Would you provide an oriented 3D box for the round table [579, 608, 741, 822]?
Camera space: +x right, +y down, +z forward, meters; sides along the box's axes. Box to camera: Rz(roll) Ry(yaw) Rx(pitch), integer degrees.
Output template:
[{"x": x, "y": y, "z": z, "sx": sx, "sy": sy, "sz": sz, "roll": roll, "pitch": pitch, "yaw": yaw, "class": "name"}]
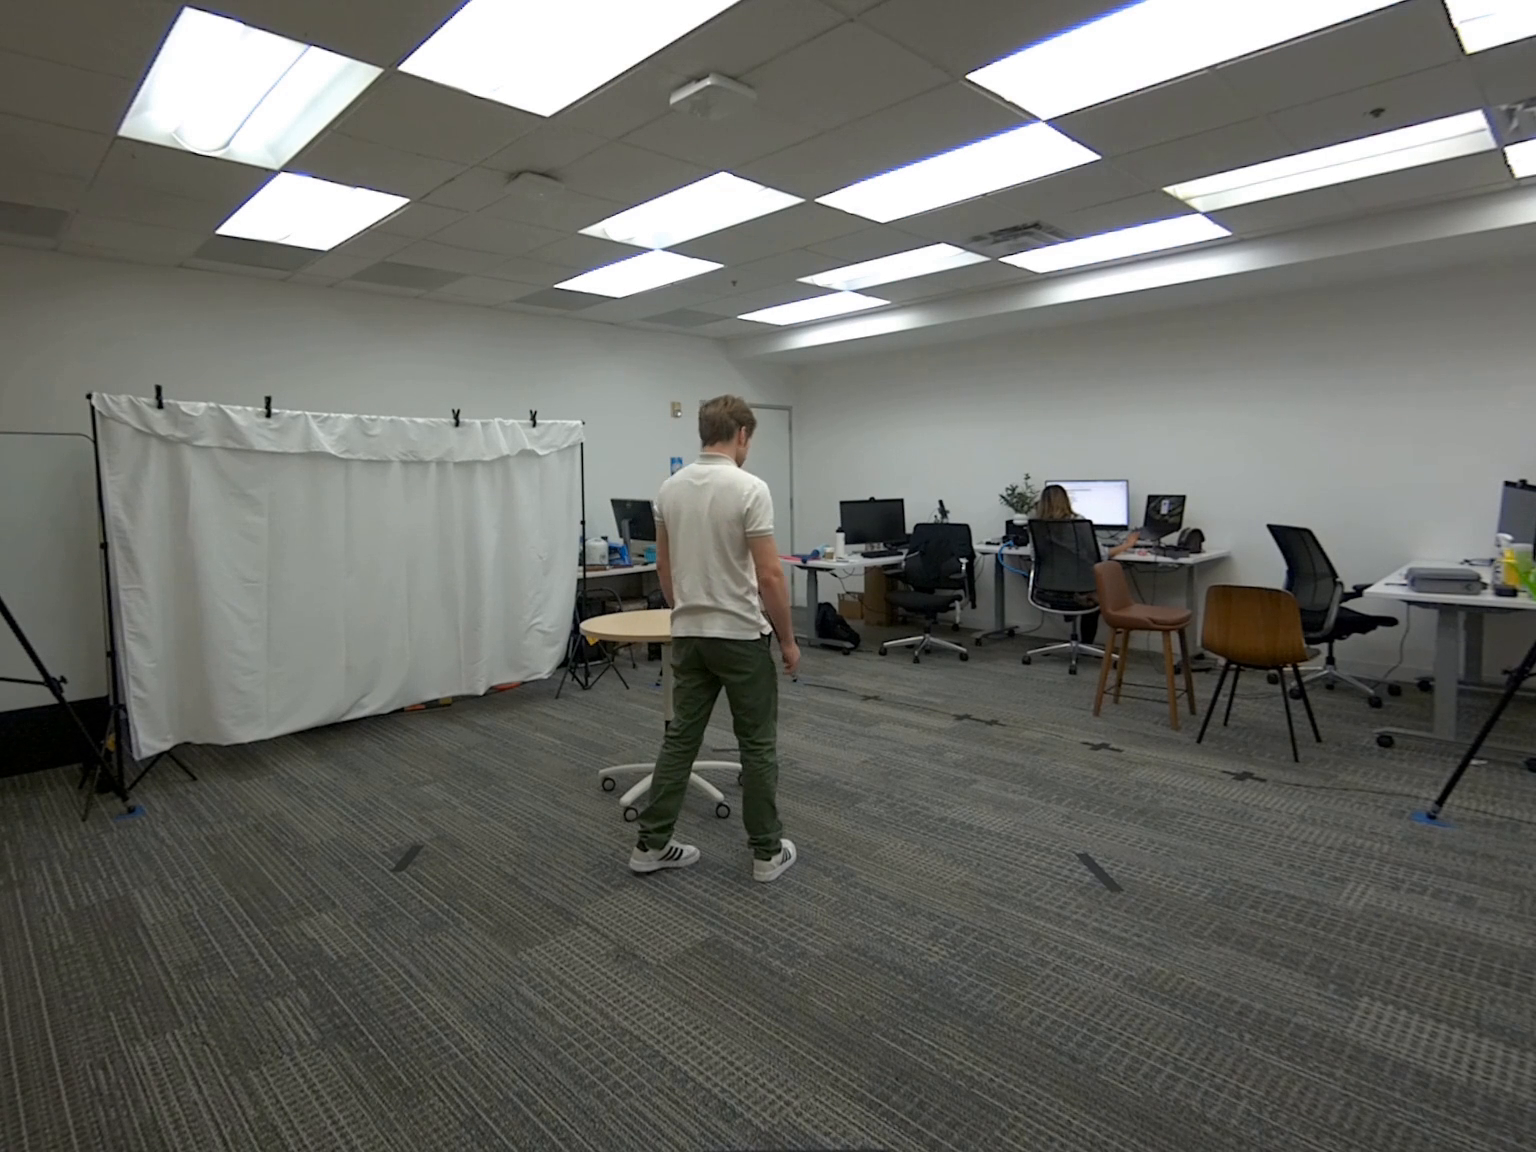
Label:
[{"x": -0.433, "y": 0.594, "z": 3.792, "sx": 0.763, "sy": 0.792, "sz": 0.767, "roll": -2, "pitch": 4, "yaw": -2, "class": "round table"}]
